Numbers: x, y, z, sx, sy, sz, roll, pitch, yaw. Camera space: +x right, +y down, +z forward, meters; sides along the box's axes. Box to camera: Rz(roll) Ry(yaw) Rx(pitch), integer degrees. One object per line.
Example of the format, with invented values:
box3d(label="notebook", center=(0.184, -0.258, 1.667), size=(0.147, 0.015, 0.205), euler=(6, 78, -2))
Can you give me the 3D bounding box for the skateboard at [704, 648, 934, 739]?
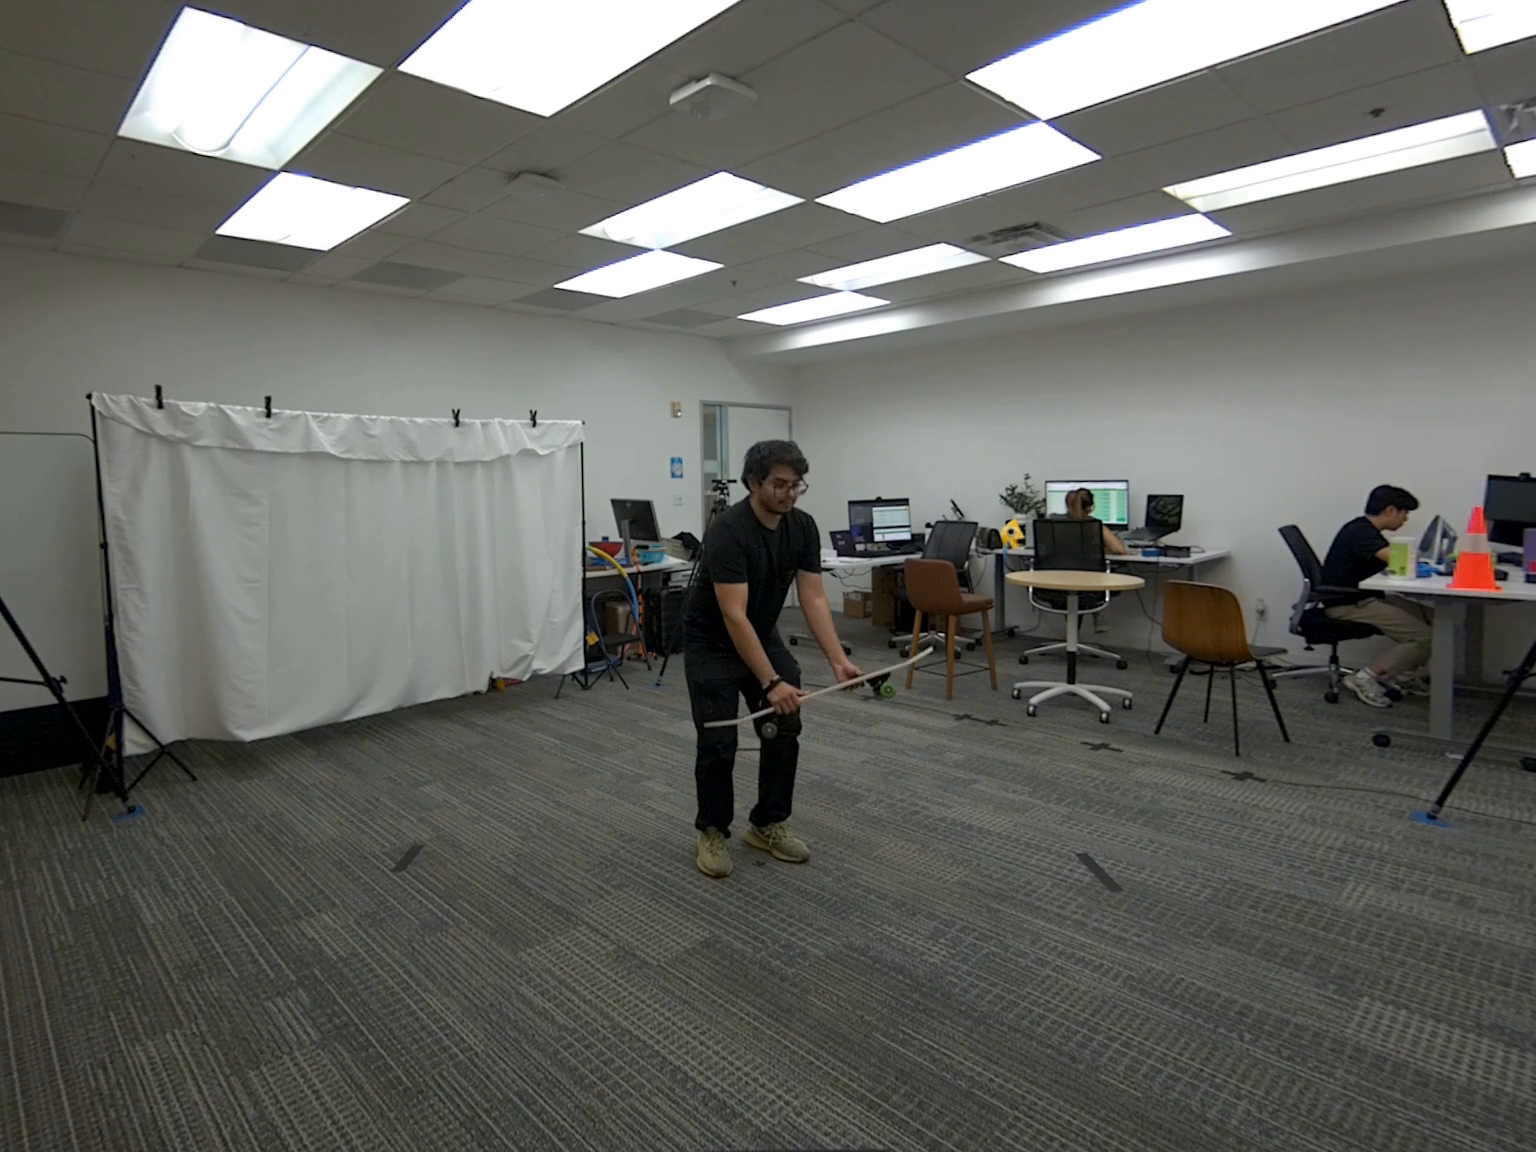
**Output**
box3d(label="skateboard", center=(0.175, 0.423, 2.792), size=(0.785, 0.112, 0.191), euler=(-20, -9, -1))
